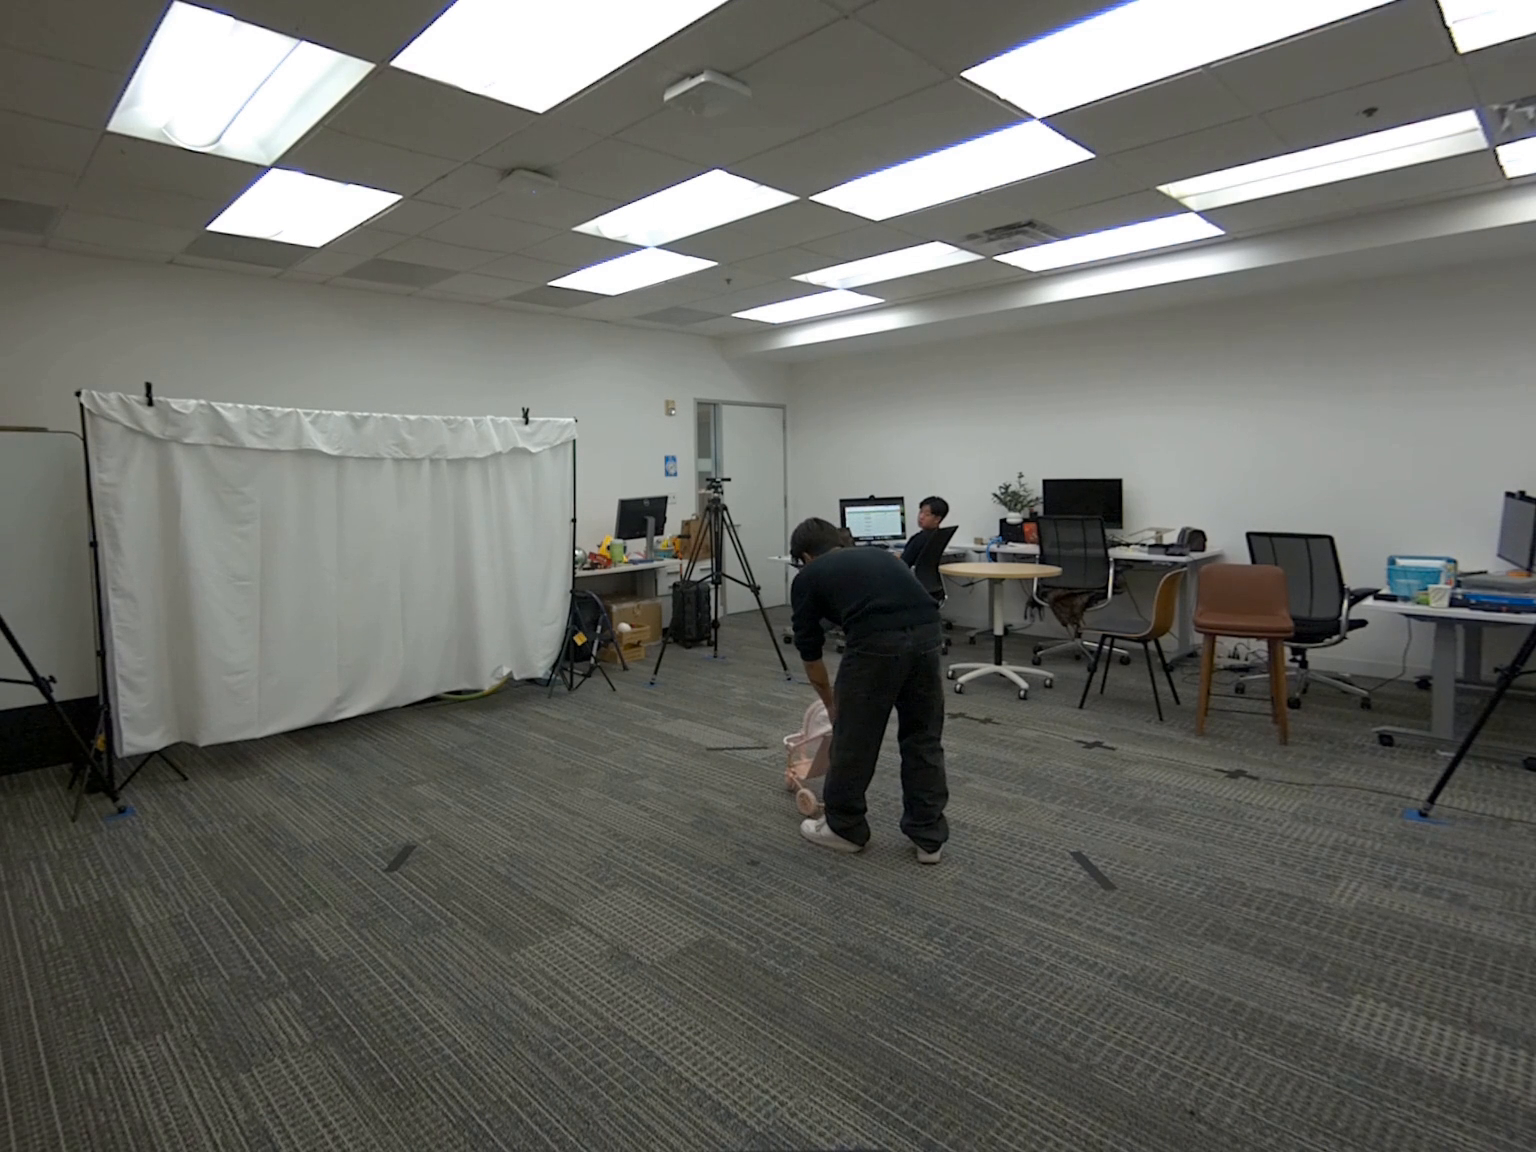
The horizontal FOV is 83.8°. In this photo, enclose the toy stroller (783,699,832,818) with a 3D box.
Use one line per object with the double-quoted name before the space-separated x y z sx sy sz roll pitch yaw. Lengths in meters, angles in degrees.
"toy stroller" 0.221 0.754 3.645 0.274 0.528 0.354 -2 22 -33
